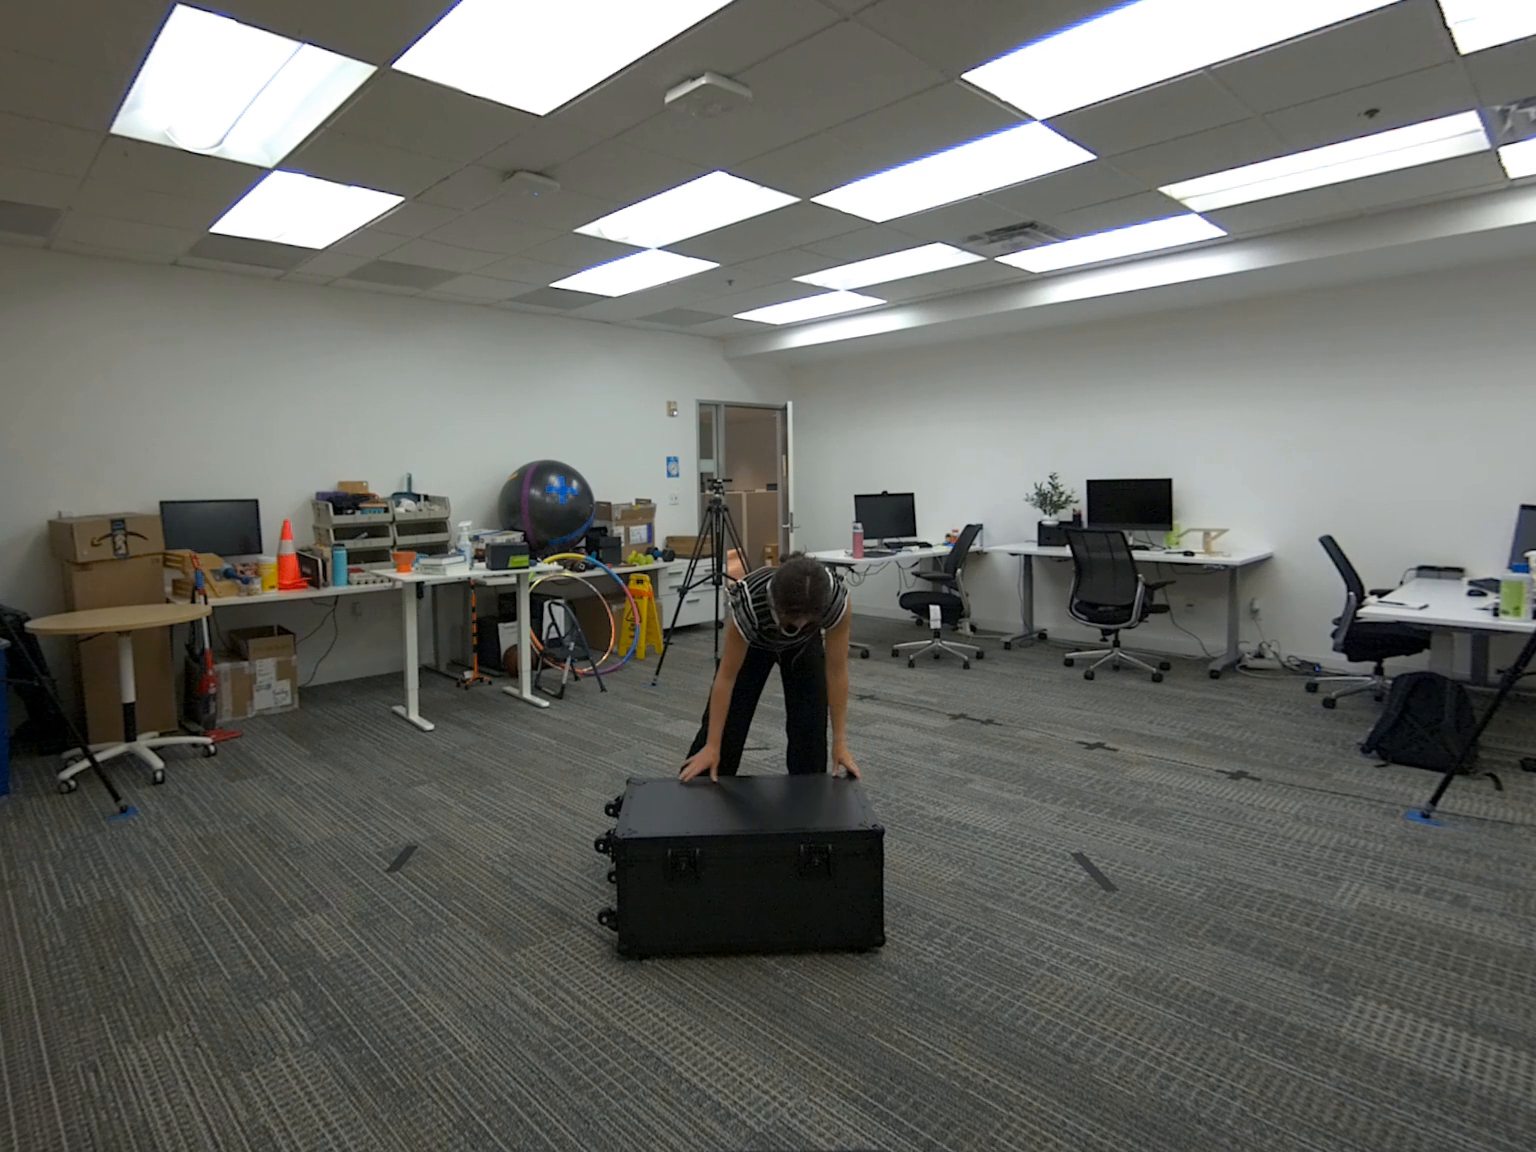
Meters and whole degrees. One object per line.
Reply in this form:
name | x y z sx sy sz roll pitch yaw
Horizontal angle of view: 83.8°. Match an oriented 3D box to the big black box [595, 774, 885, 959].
big black box | -0.100 0.899 2.713 0.860 0.395 0.524 -1 5 -2
